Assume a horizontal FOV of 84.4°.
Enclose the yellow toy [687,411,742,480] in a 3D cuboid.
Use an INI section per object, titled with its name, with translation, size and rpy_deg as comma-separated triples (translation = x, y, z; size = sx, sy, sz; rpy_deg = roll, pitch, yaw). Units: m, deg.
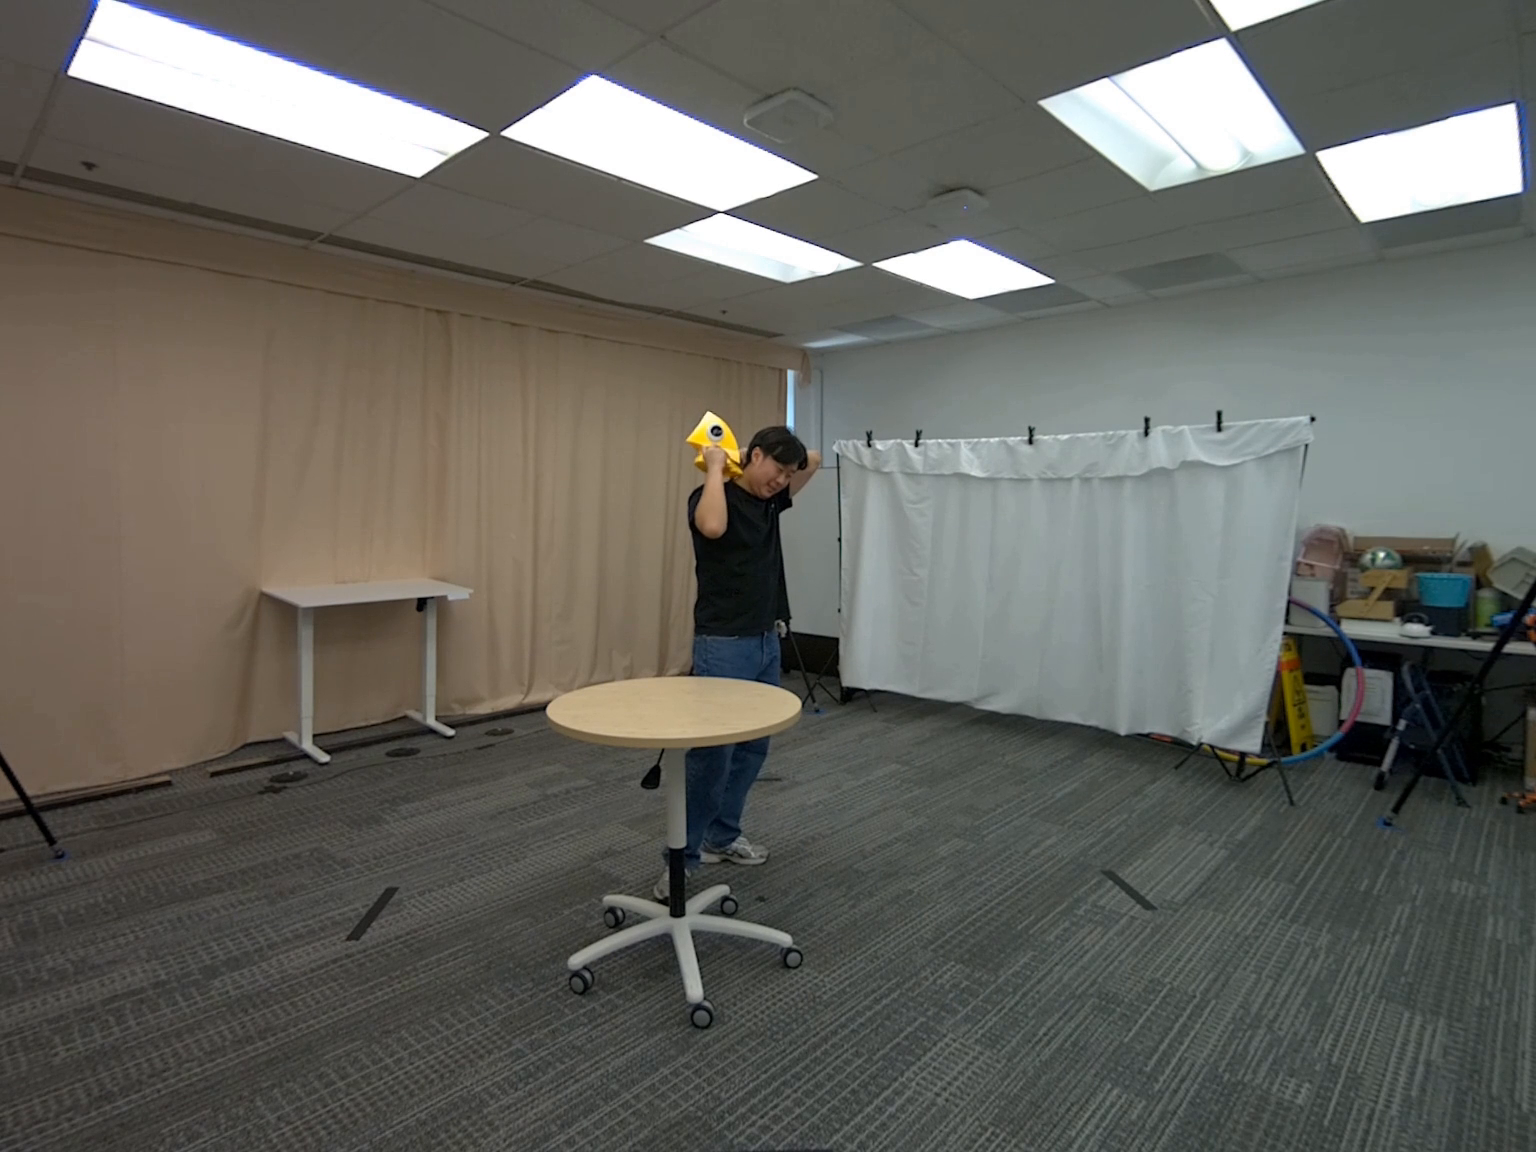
[yellow toy]
translation = -0.189, -0.519, 3.240
size = 0.197, 0.232, 0.200
rpy_deg = 4, -9, 18
